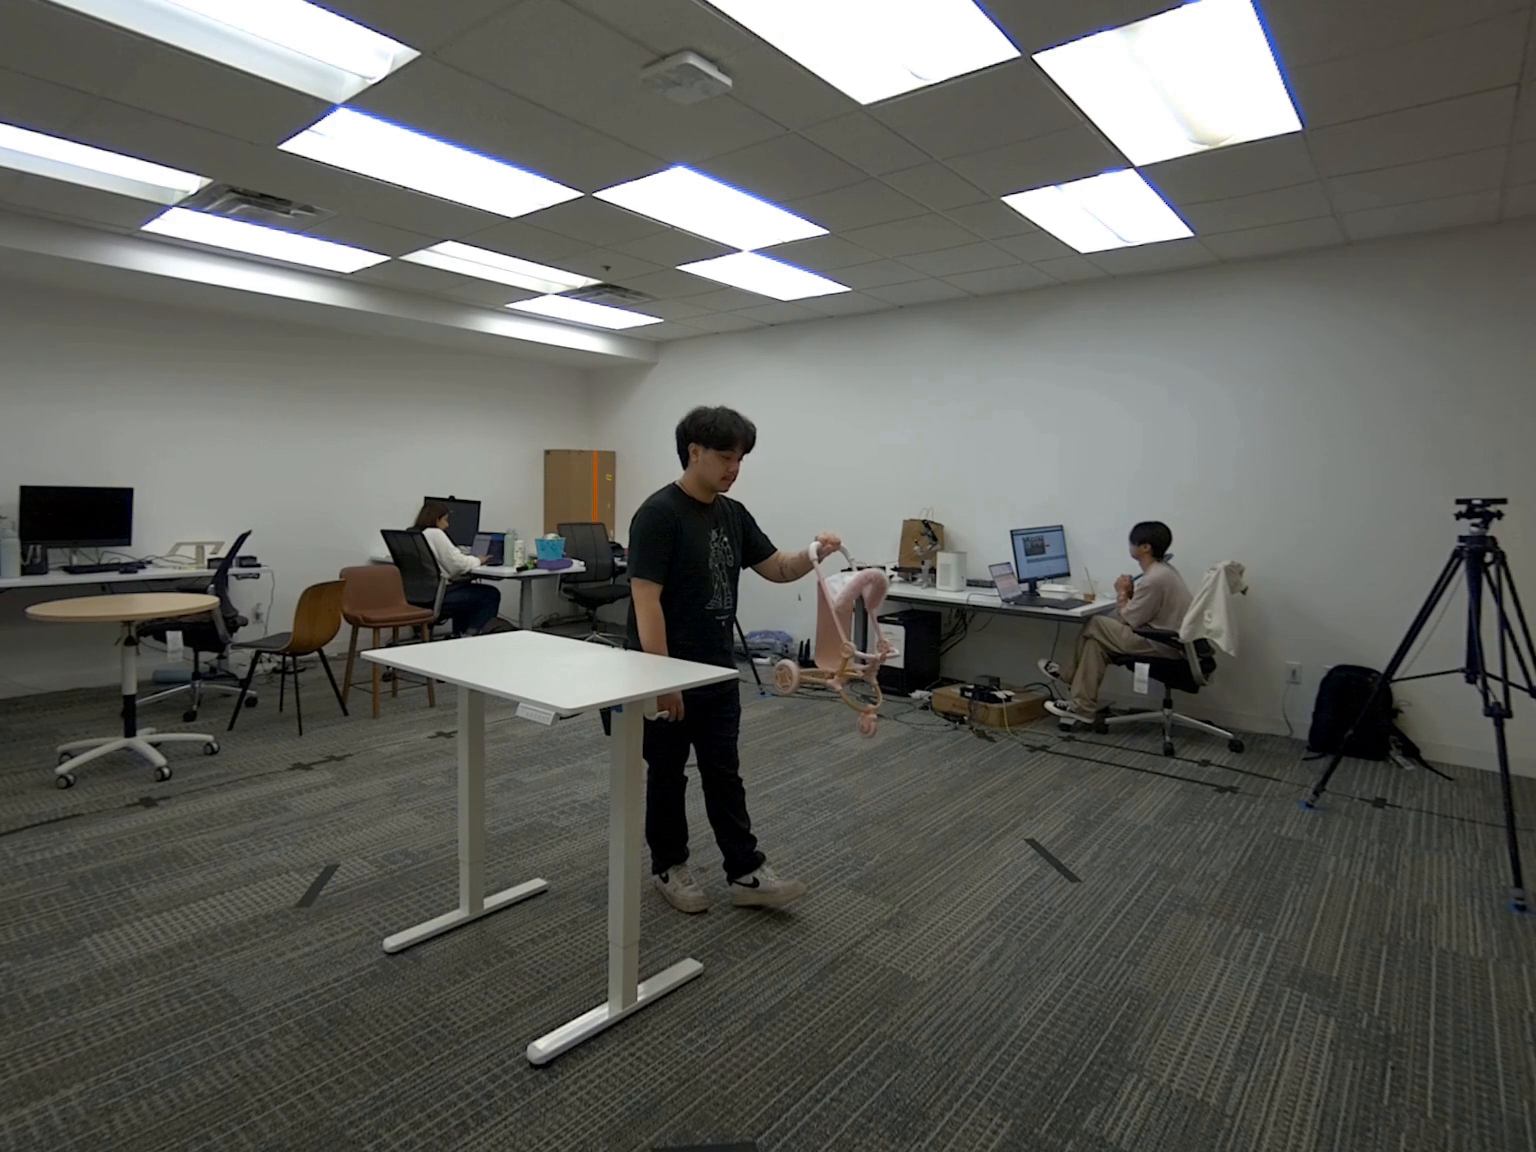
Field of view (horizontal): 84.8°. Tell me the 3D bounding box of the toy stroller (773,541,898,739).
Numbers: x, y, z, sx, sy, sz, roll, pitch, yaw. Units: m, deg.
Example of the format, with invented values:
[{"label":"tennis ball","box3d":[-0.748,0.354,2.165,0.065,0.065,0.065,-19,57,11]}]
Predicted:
[{"label":"toy stroller","box3d":[0.243,0.191,2.626,0.272,0.532,0.355,4,10,-42]}]
